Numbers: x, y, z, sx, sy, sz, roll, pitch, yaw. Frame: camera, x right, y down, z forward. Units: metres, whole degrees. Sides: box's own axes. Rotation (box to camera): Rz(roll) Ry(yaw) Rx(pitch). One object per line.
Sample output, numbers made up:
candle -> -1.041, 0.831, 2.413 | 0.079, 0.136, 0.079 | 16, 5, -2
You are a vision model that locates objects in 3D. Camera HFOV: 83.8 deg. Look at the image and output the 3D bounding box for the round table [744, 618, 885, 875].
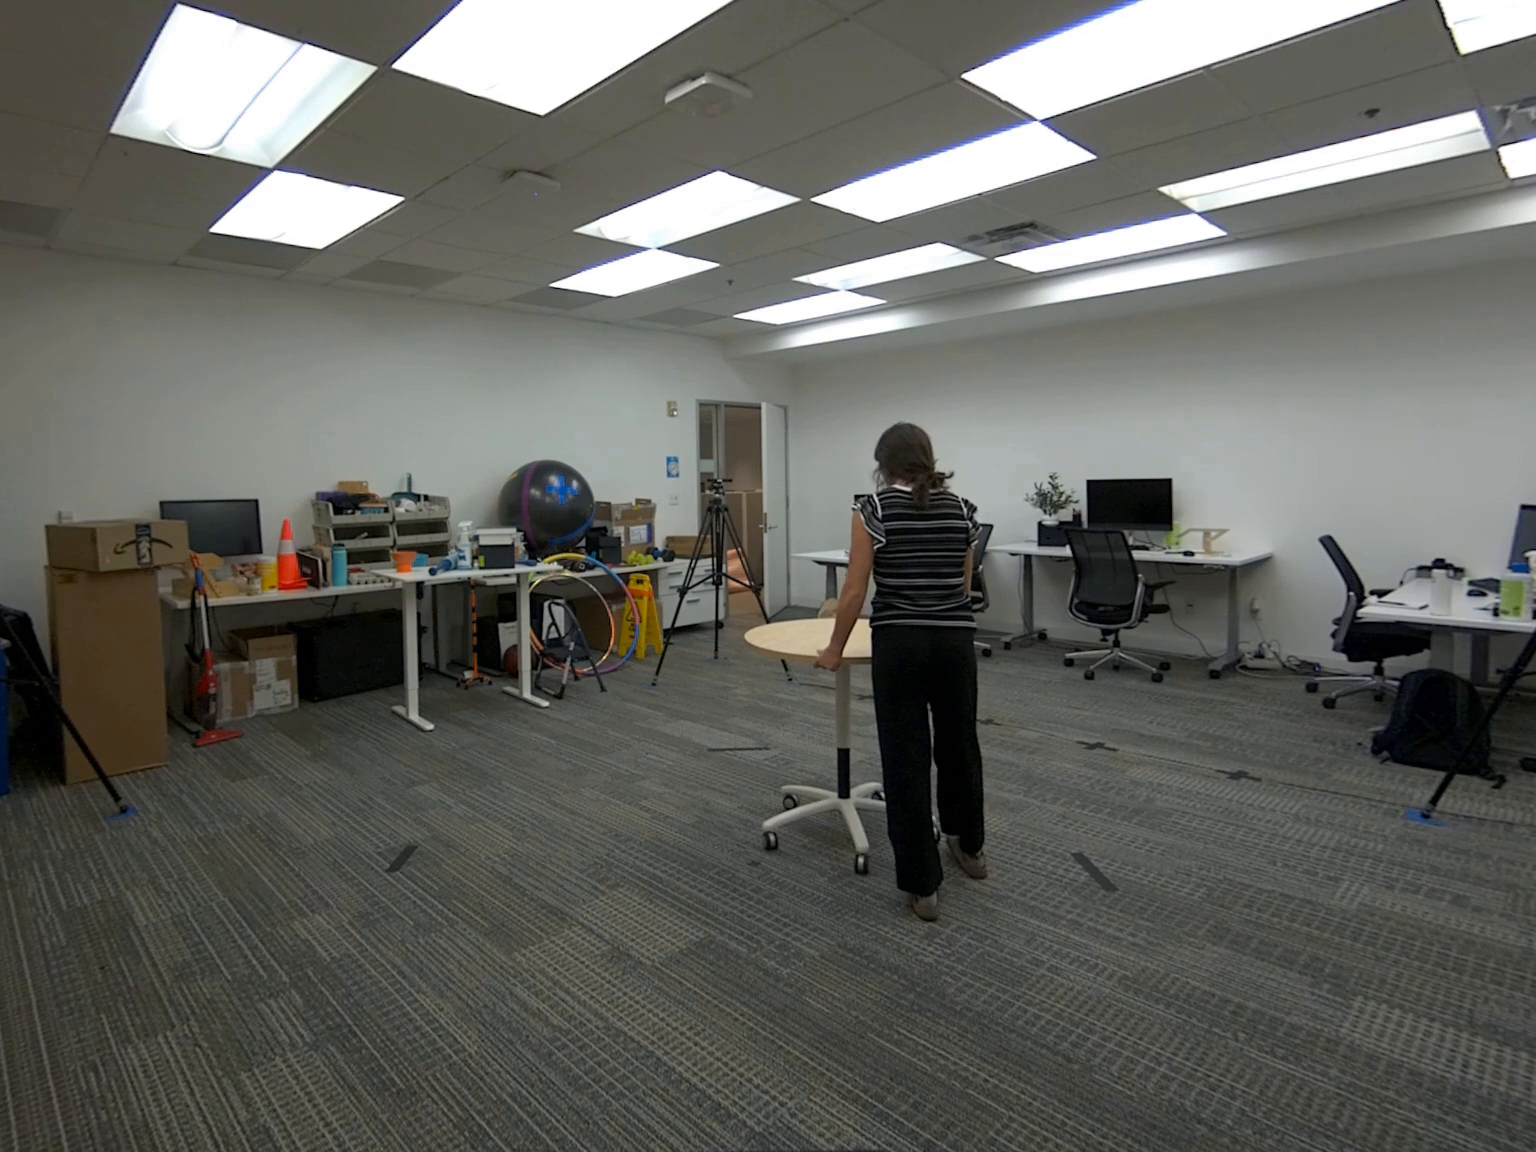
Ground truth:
round table -> 0.291, 0.623, 3.346 | 0.763, 0.791, 0.768 | -1, 5, -2
